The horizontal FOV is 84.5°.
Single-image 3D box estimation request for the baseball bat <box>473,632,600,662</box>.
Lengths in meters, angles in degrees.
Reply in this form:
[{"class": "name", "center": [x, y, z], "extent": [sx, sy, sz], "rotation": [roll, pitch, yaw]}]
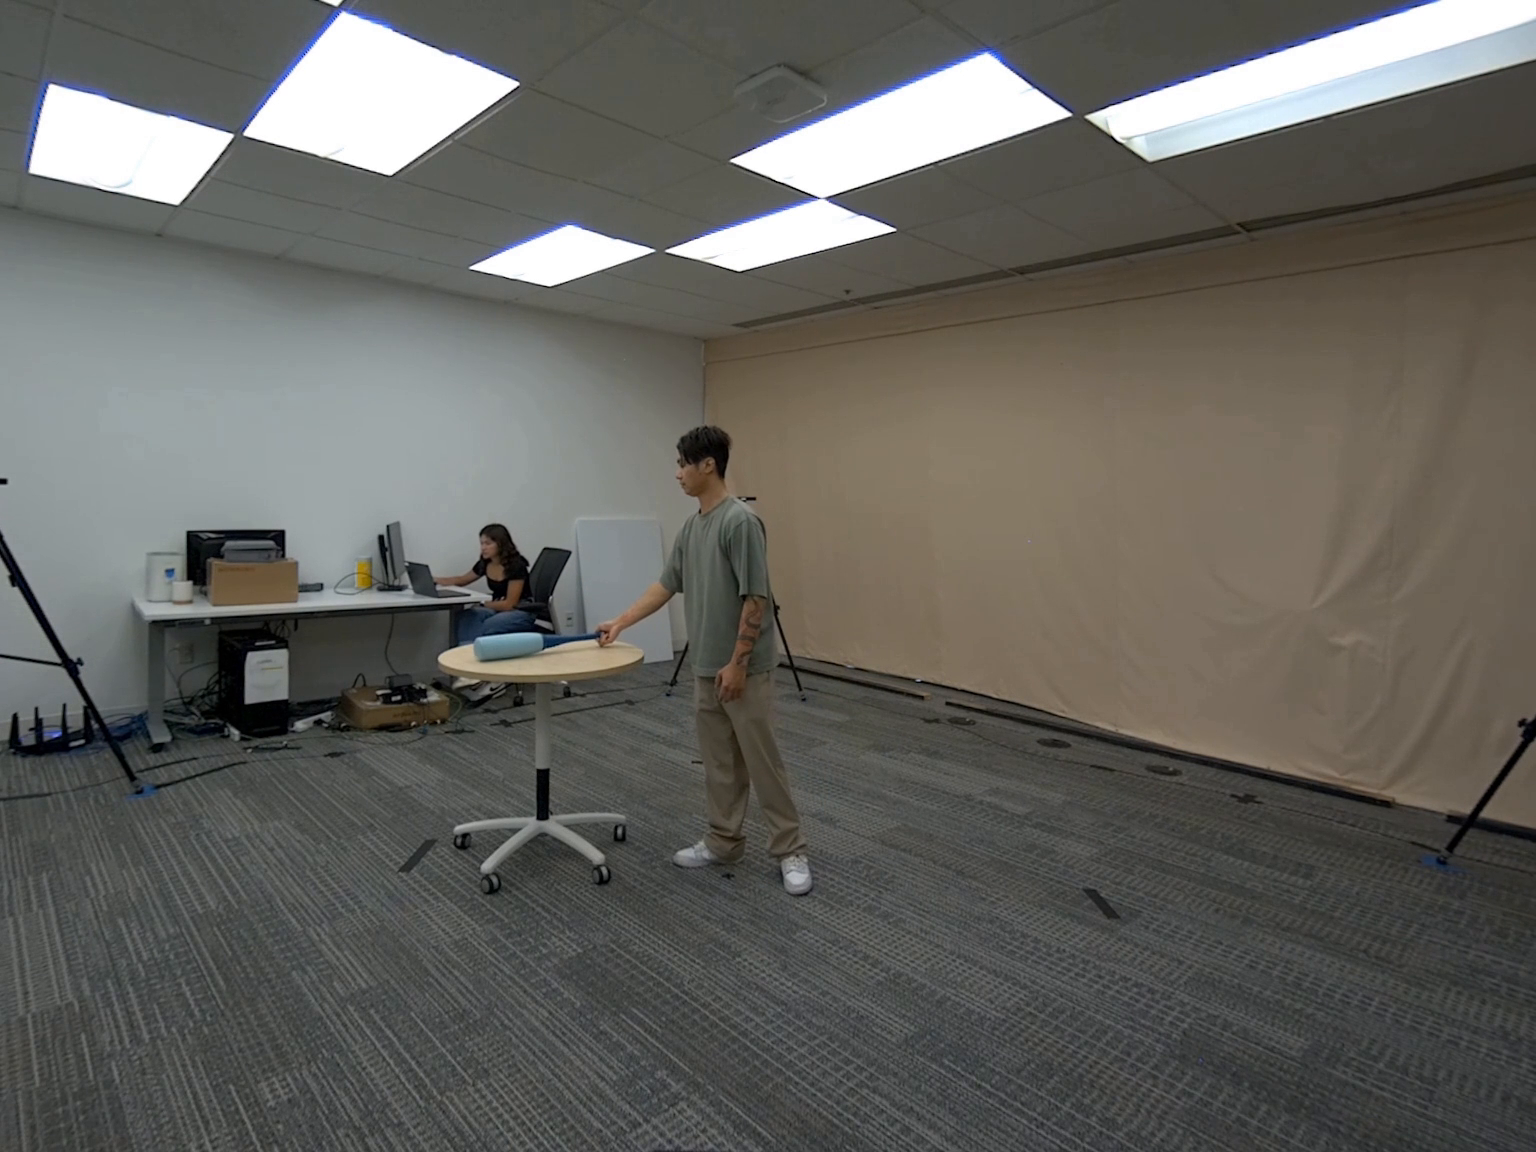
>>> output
[{"class": "baseball bat", "center": [-0.854, 0.251, 3.214], "extent": [0.531, 0.089, 0.091], "rotation": [-4, 6, -40]}]
